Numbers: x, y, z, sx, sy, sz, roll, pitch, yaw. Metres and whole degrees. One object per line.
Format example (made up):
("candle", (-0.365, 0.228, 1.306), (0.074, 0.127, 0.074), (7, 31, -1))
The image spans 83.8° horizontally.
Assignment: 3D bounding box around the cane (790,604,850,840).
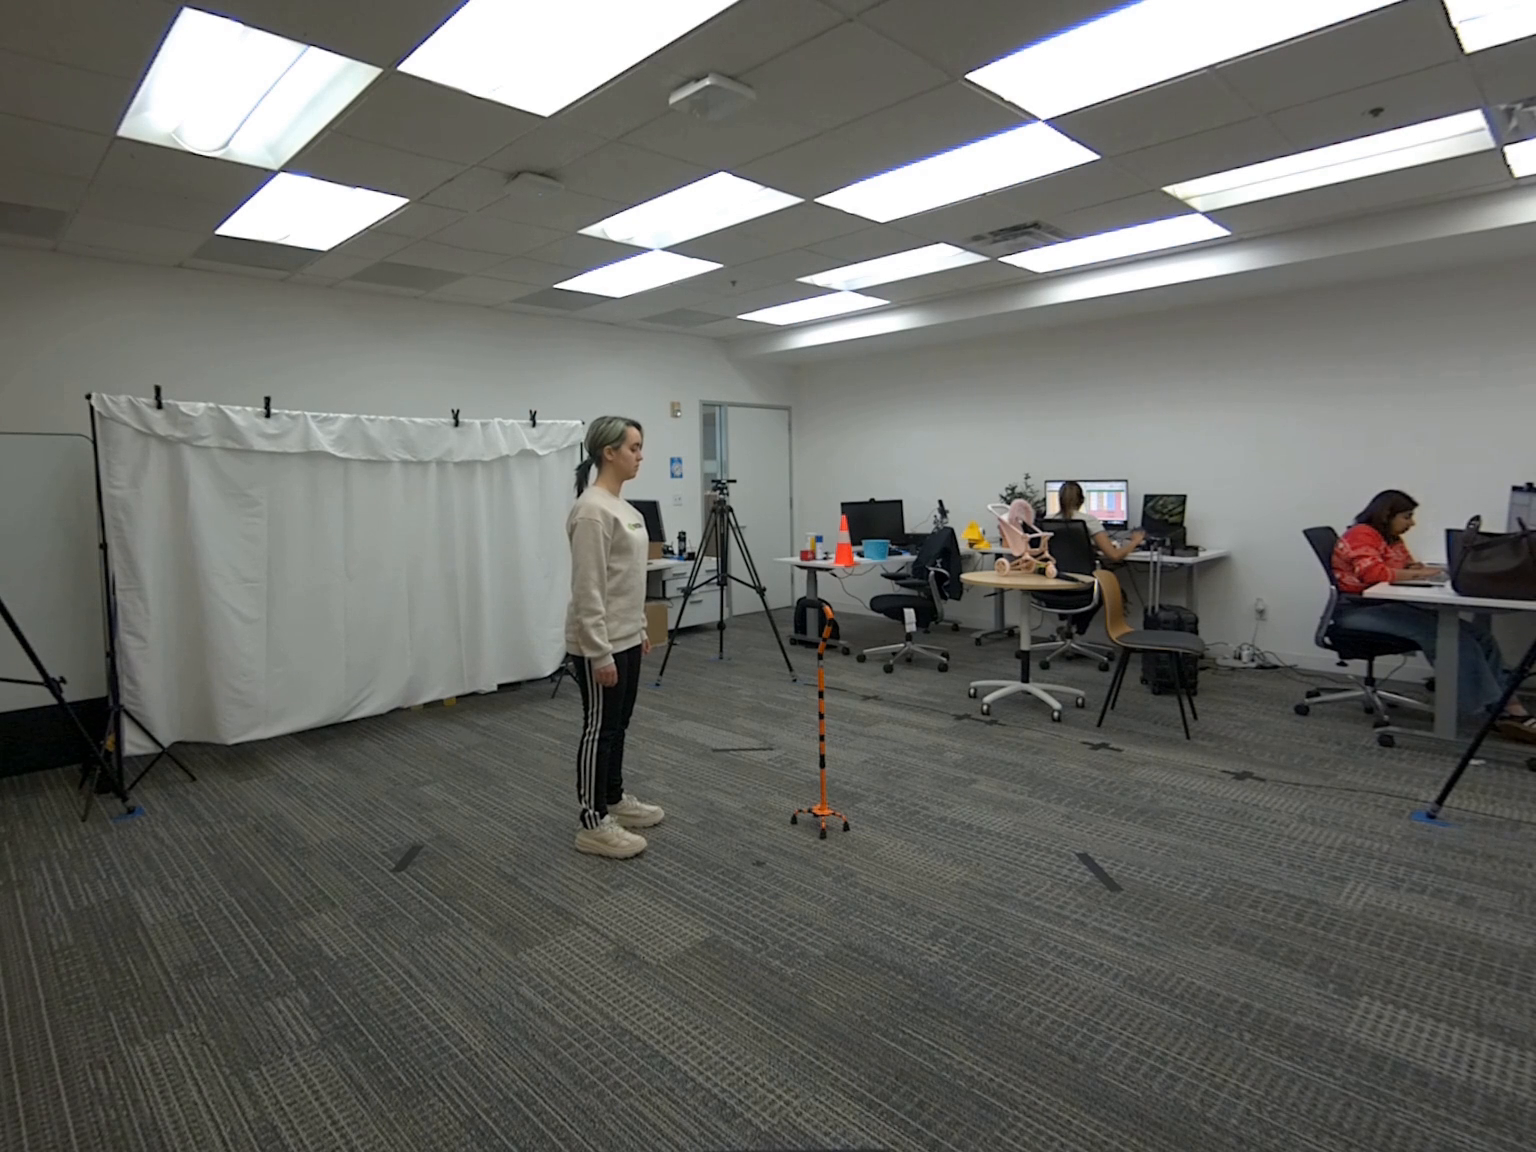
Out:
("cane", (0.202, 0.552, 3.399), (0.148, 0.904, 0.212), (-4, 5, -37))
